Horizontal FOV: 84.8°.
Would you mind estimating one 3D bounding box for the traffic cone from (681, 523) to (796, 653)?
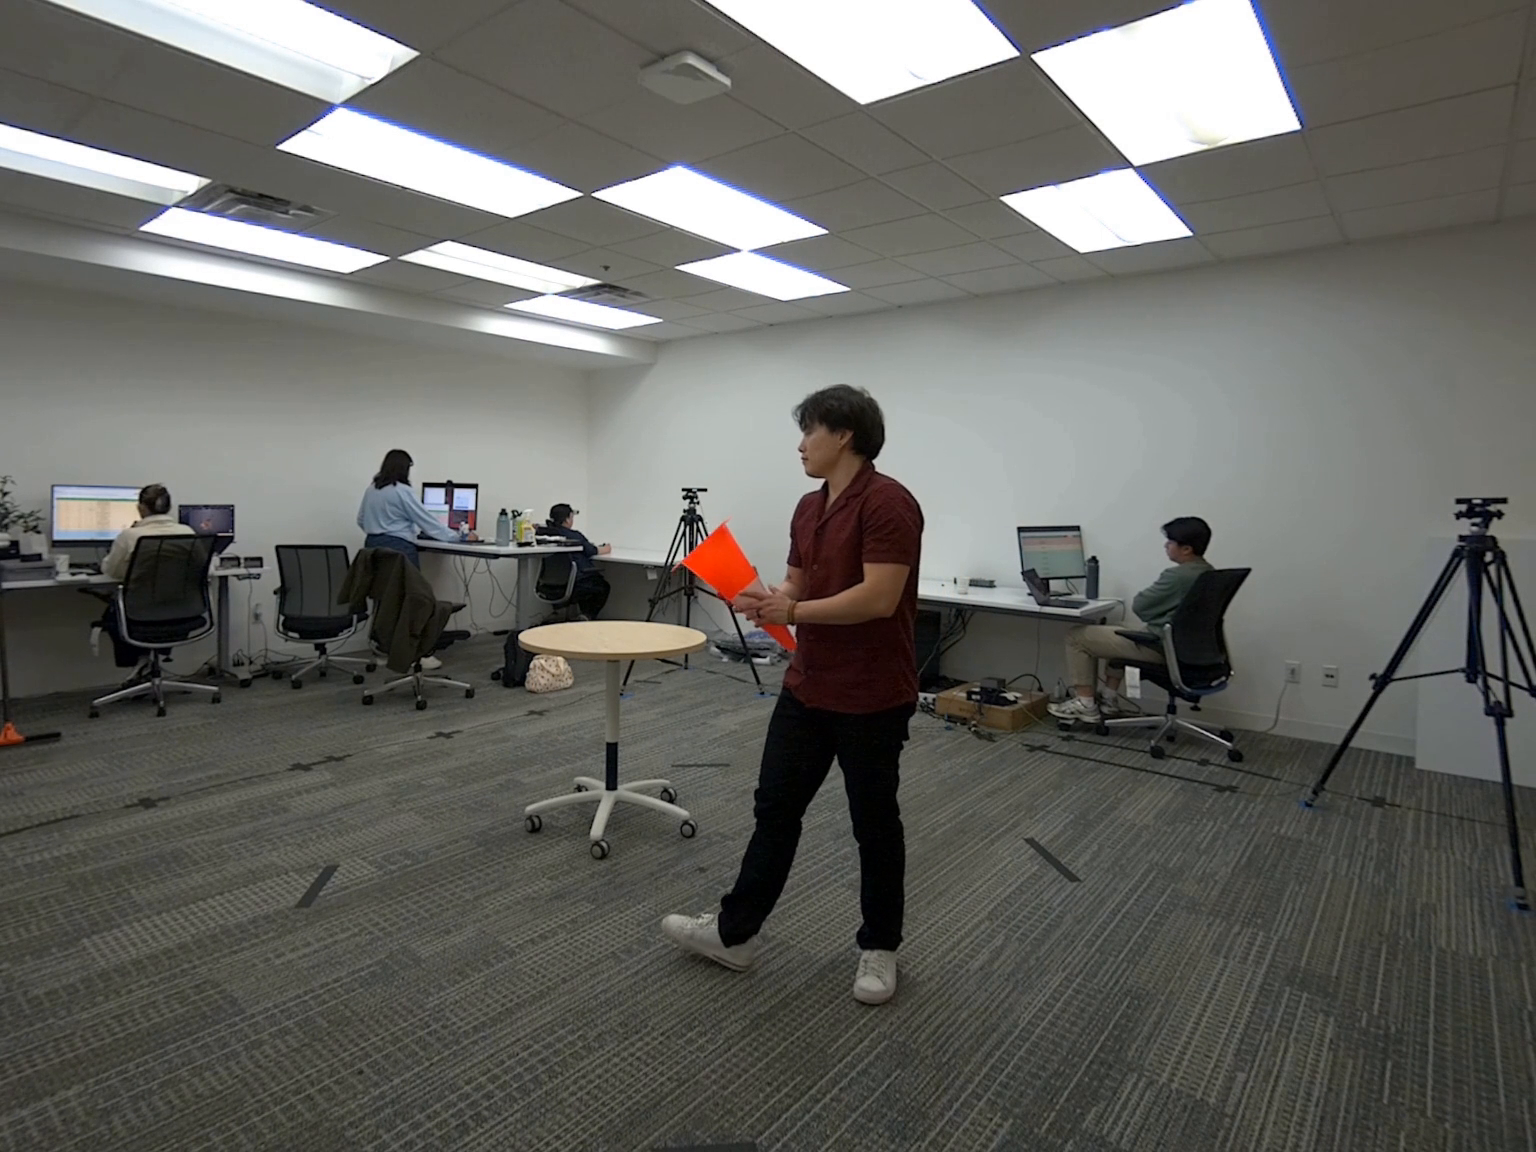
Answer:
[{"bbox_3d":[-0.065,0.051,2.320,0.203,0.381,0.206,-40,6,8],"label":"traffic cone"}]
